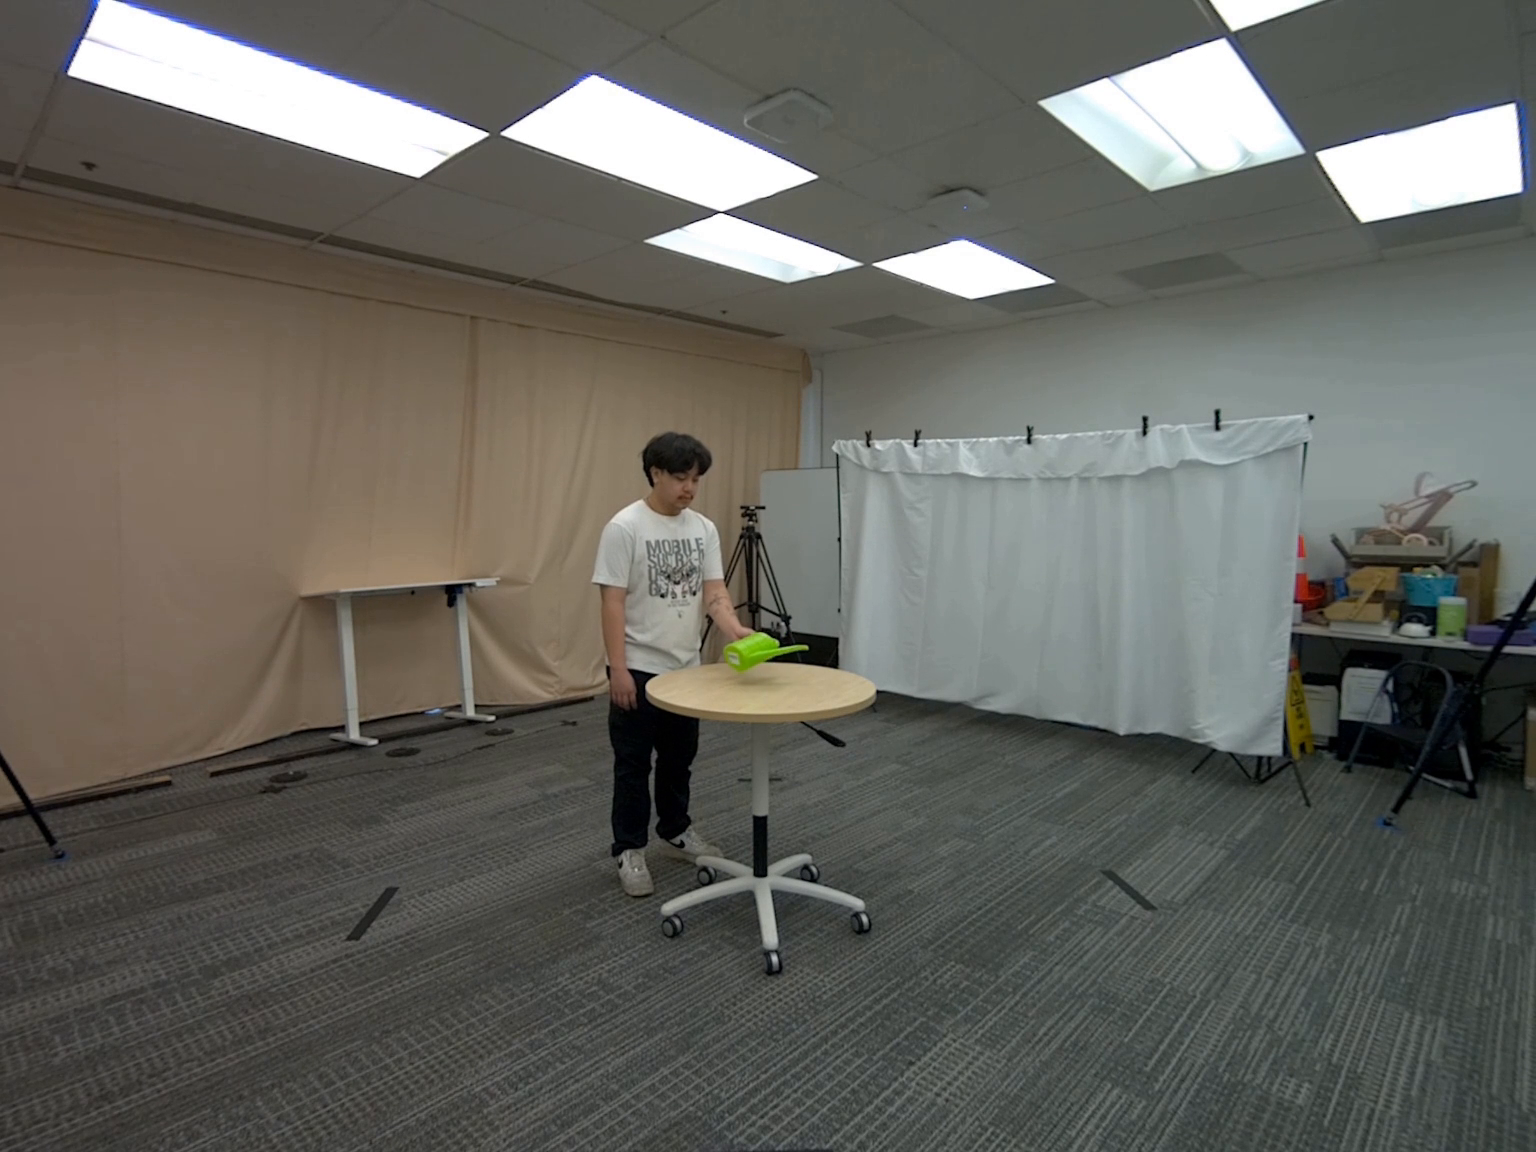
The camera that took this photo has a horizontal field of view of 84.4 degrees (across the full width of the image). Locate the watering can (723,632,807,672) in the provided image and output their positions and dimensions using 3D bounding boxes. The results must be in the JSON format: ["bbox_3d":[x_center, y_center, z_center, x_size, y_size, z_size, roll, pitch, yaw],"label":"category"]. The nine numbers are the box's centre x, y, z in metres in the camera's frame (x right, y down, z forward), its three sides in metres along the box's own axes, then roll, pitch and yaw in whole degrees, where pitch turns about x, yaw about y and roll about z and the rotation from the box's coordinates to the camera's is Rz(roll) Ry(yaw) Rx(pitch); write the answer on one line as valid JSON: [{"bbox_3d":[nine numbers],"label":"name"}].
[{"bbox_3d":[-0.020,0.246,2.802,0.173,0.098,0.284,-22,3,-33],"label":"watering can"}]
